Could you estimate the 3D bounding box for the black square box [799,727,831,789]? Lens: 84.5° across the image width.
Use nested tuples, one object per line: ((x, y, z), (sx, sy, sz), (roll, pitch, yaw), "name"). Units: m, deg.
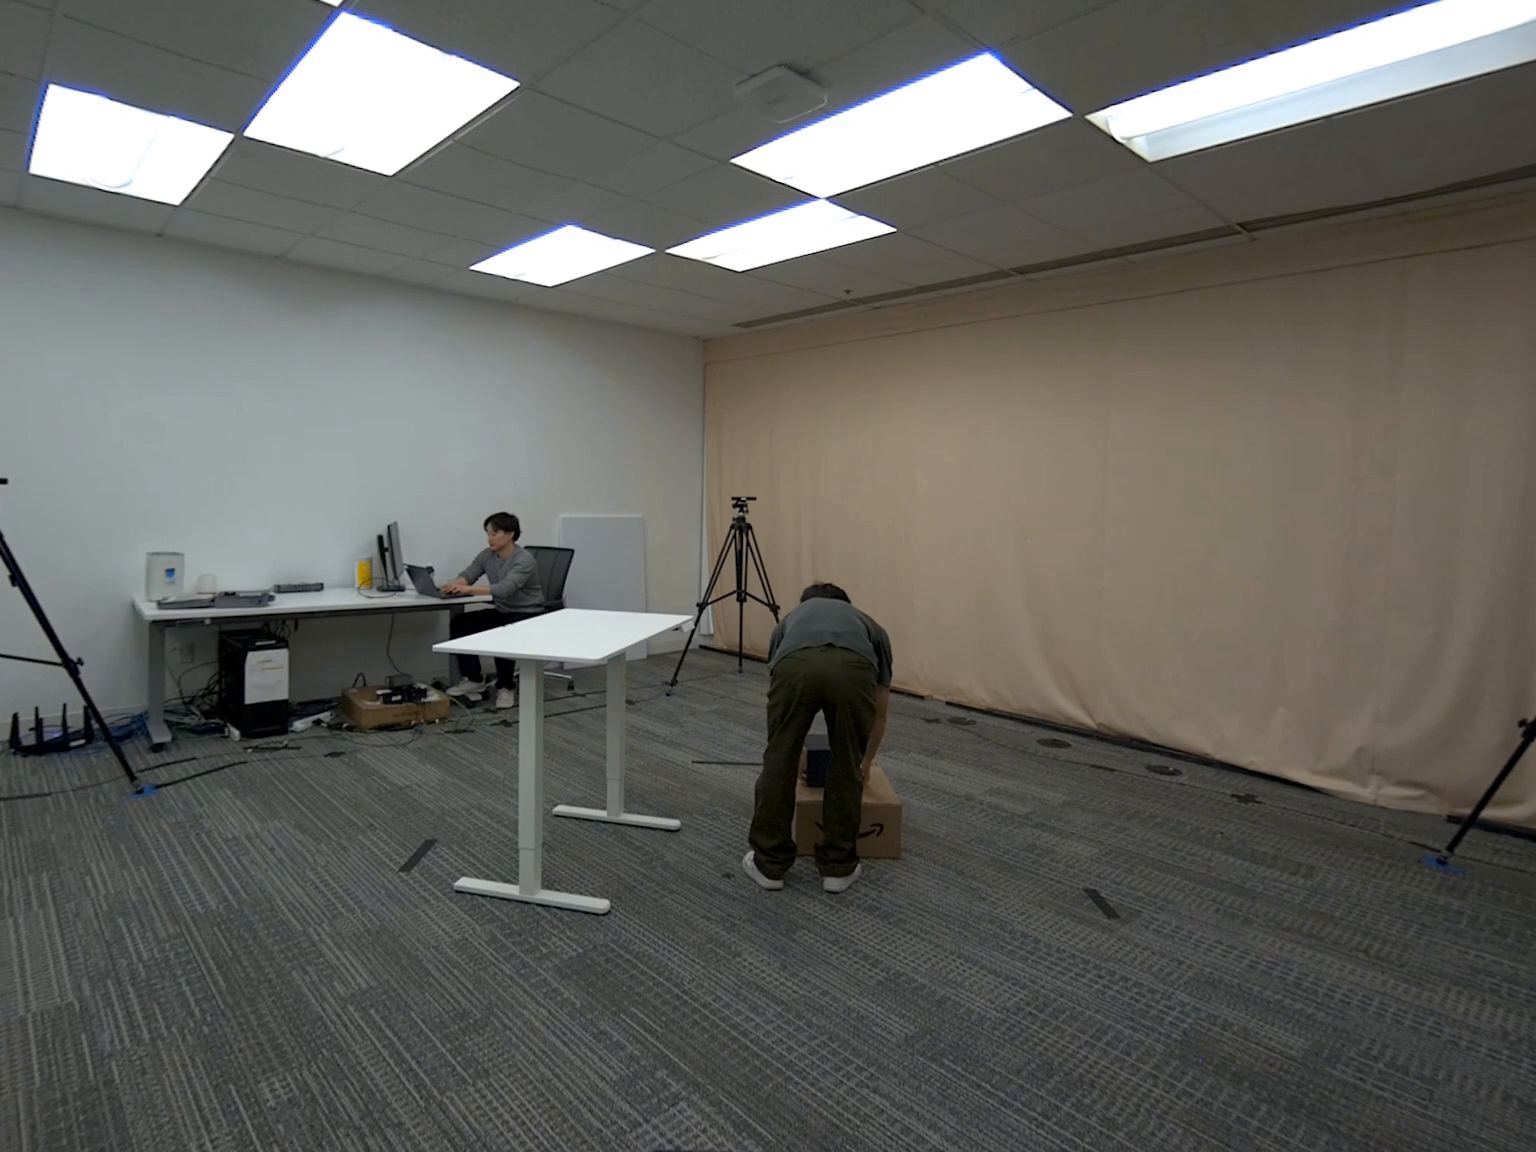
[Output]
((0.257, 0.780, 3.566), (0.217, 0.156, 0.228), (1, 2, -1), "black square box")
